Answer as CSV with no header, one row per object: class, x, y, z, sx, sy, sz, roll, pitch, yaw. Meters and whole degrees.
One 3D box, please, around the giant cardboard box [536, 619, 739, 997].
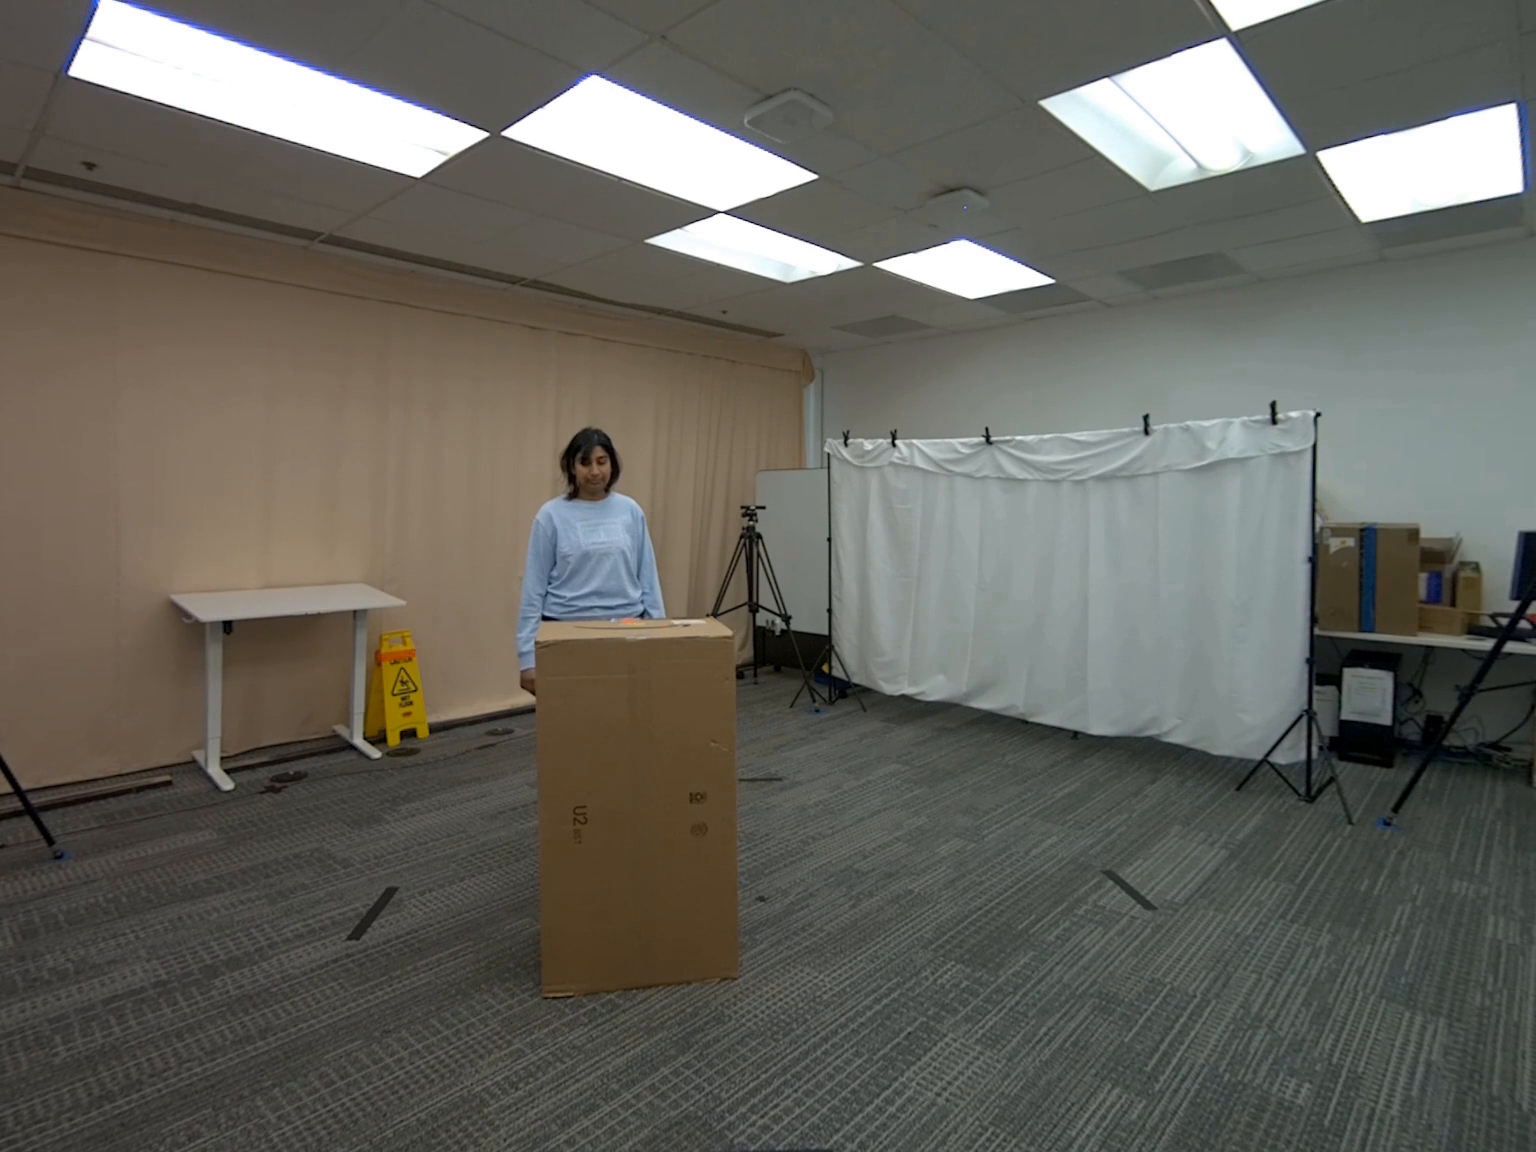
giant cardboard box,-0.411,0.668,2.615,0.577,1.025,0.453,-1,3,-11
